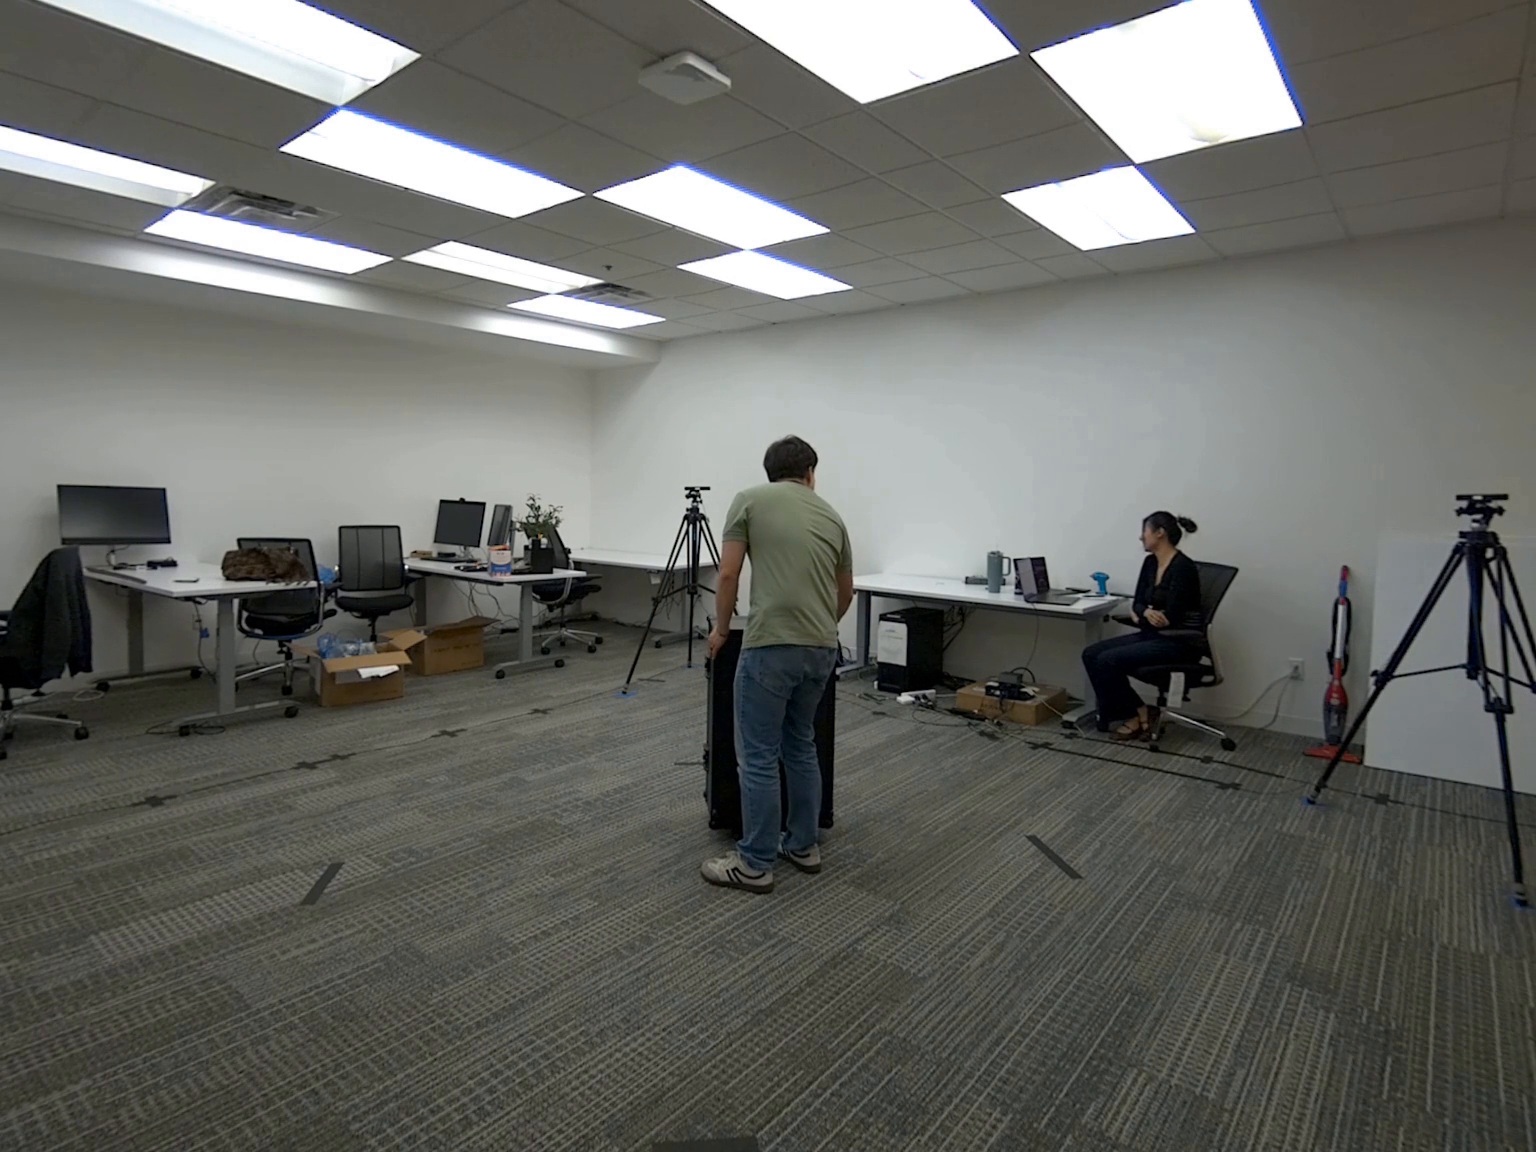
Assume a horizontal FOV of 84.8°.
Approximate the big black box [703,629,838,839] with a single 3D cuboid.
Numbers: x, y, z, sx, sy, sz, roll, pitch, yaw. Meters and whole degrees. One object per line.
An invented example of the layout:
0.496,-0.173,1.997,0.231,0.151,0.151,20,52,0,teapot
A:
-0.001,0.607,3.449,0.519,0.858,0.400,1,4,-4,big black box
